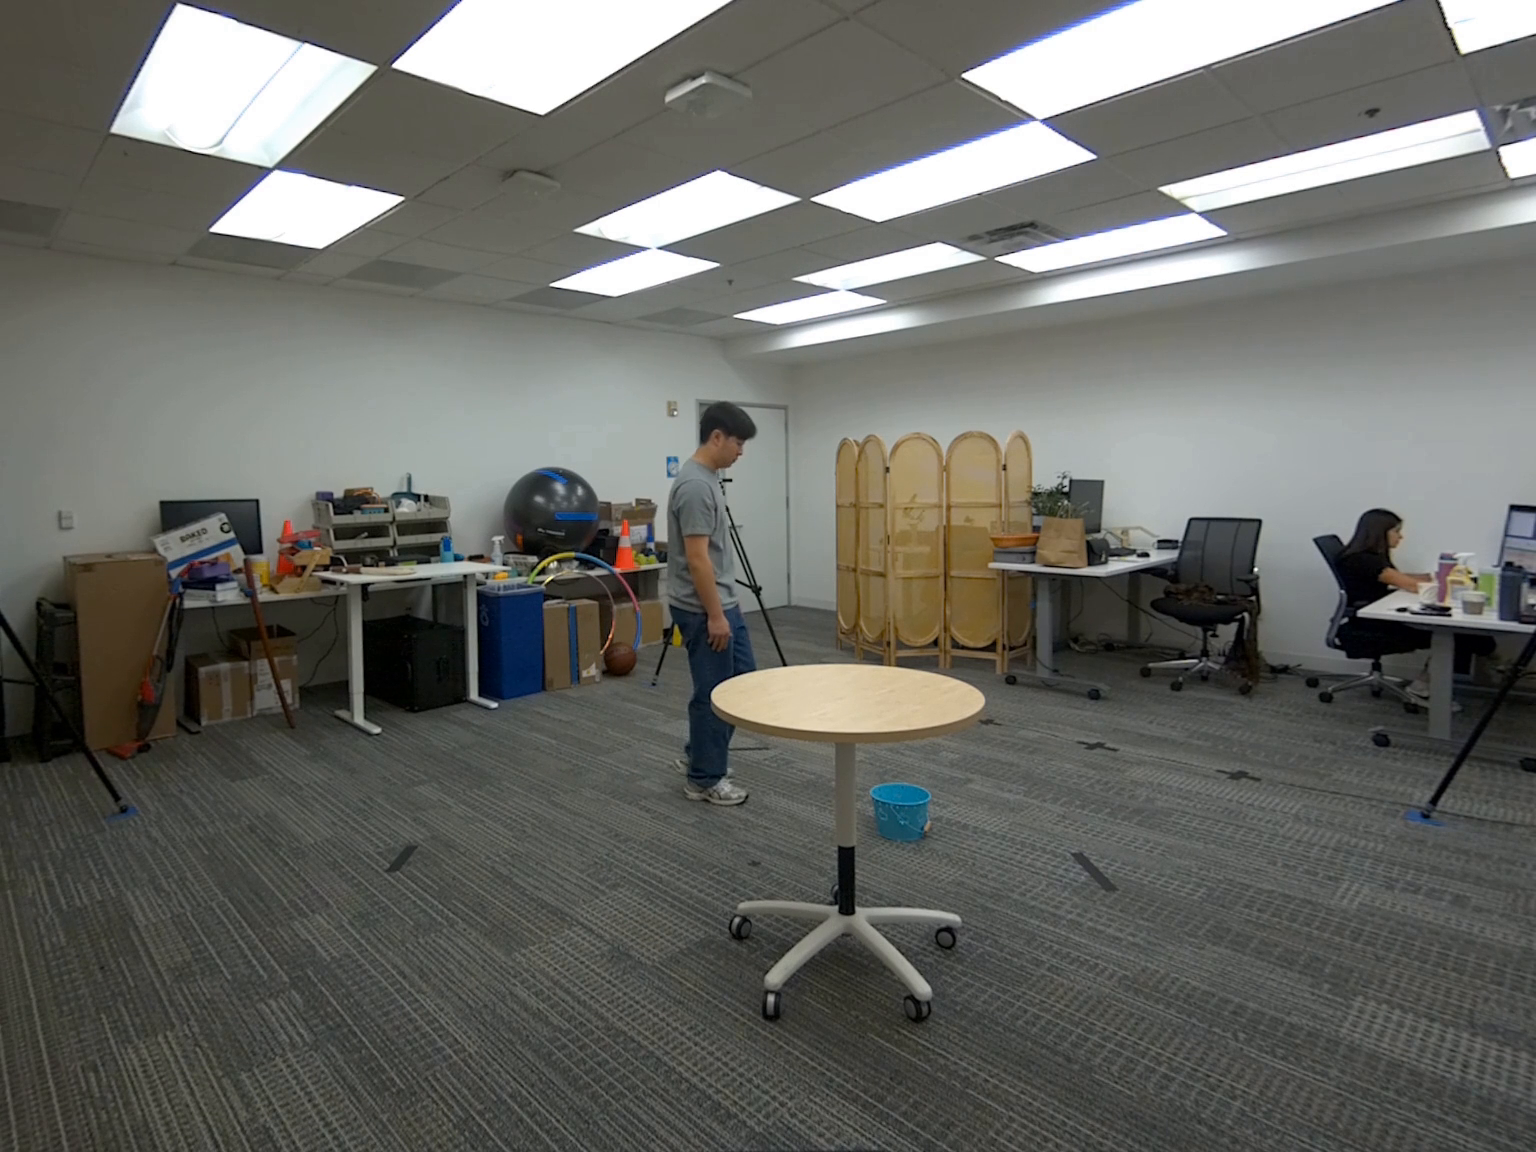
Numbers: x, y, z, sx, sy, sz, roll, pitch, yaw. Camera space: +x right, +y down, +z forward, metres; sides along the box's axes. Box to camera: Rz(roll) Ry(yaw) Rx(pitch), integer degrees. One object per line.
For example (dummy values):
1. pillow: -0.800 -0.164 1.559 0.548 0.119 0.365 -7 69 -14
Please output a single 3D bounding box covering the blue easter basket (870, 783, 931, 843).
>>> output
1. blue easter basket: 0.528 0.930 3.356 0.243 0.155 0.245 -2 5 -2
